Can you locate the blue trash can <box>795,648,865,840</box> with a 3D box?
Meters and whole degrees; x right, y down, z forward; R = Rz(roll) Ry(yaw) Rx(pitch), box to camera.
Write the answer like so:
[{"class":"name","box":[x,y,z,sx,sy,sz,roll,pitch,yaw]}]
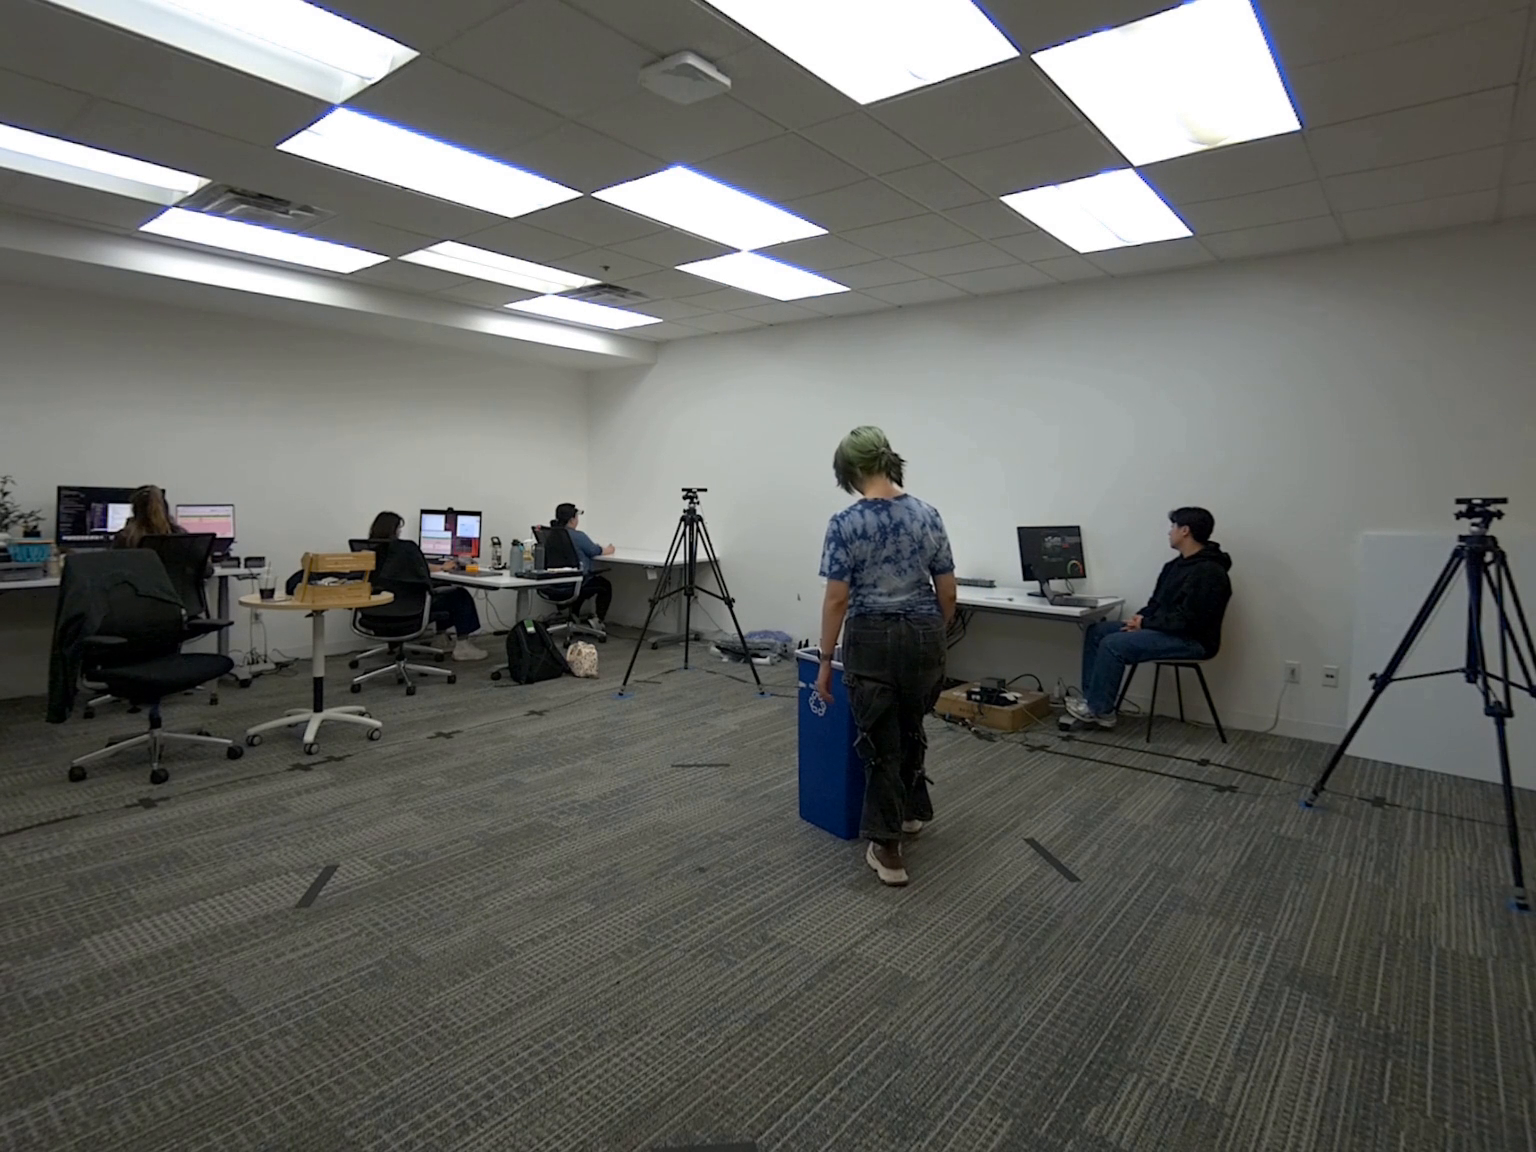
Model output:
[{"class":"blue trash can","box":[0.346,0.678,3.575,0.367,0.711,0.386,-1,4,-36]}]
